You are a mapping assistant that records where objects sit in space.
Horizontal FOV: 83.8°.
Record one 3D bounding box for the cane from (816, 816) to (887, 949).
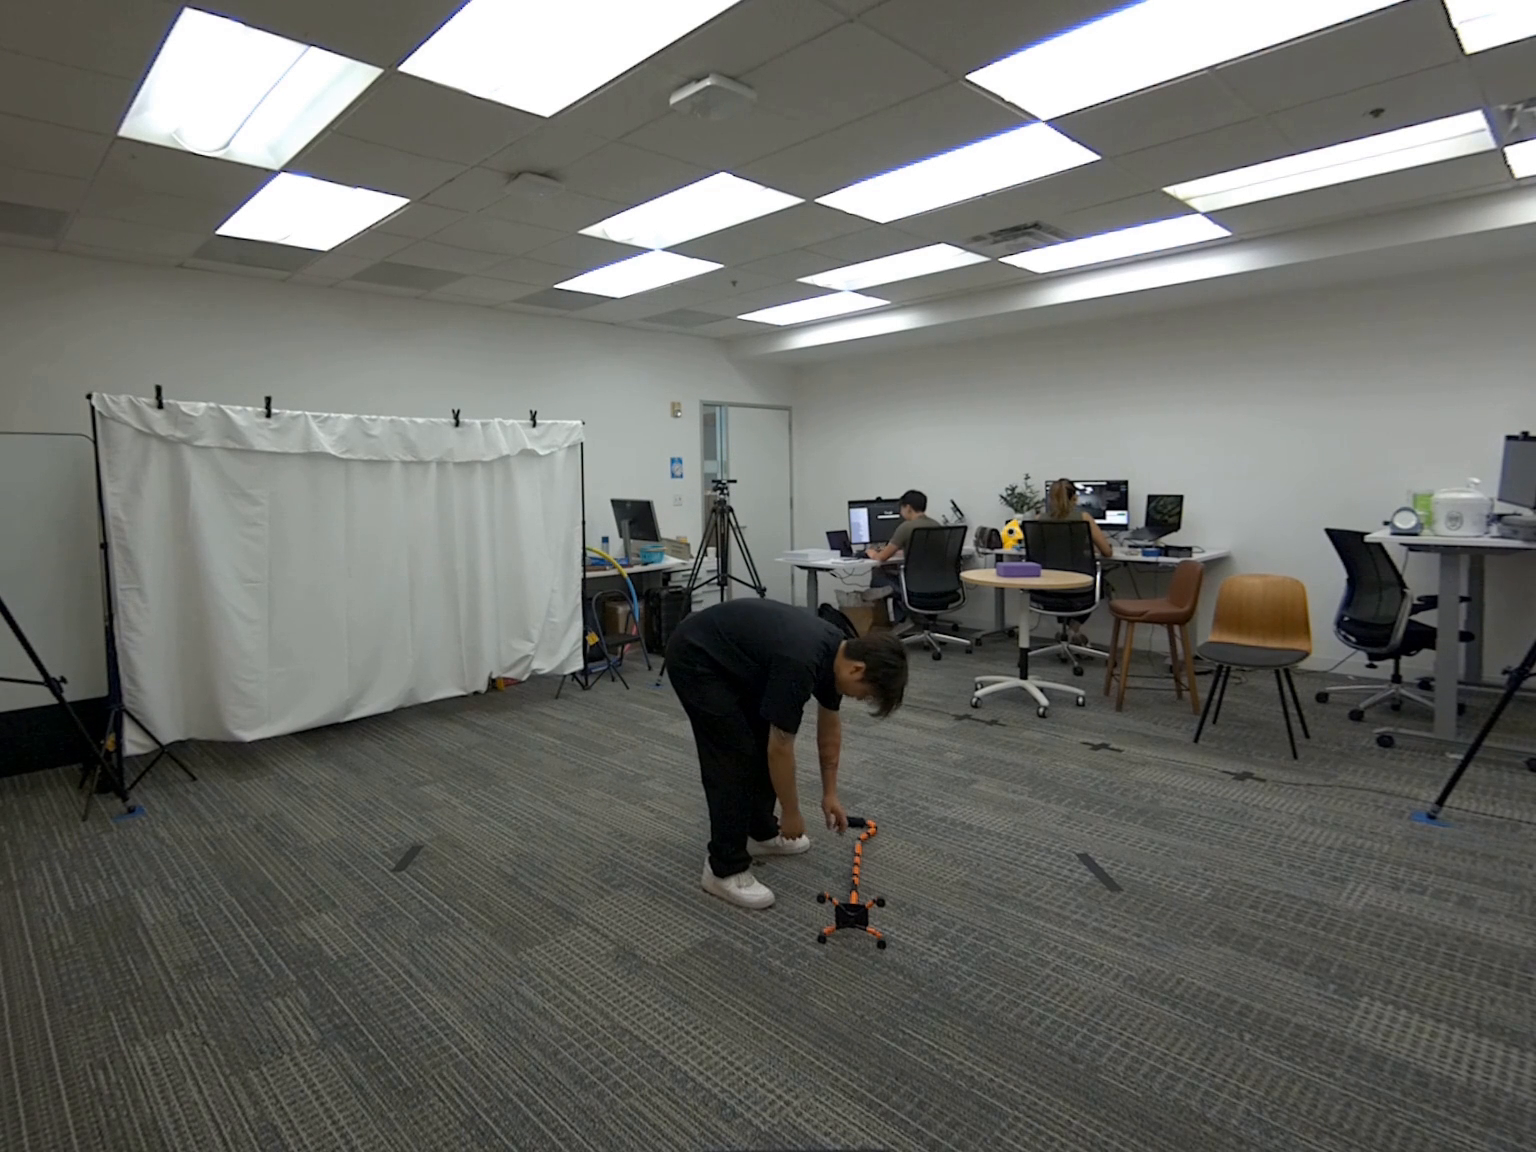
[{"bbox_3d":[0.309,0.997,2.996,0.208,0.151,0.901,1,3,8],"label":"cane"}]
